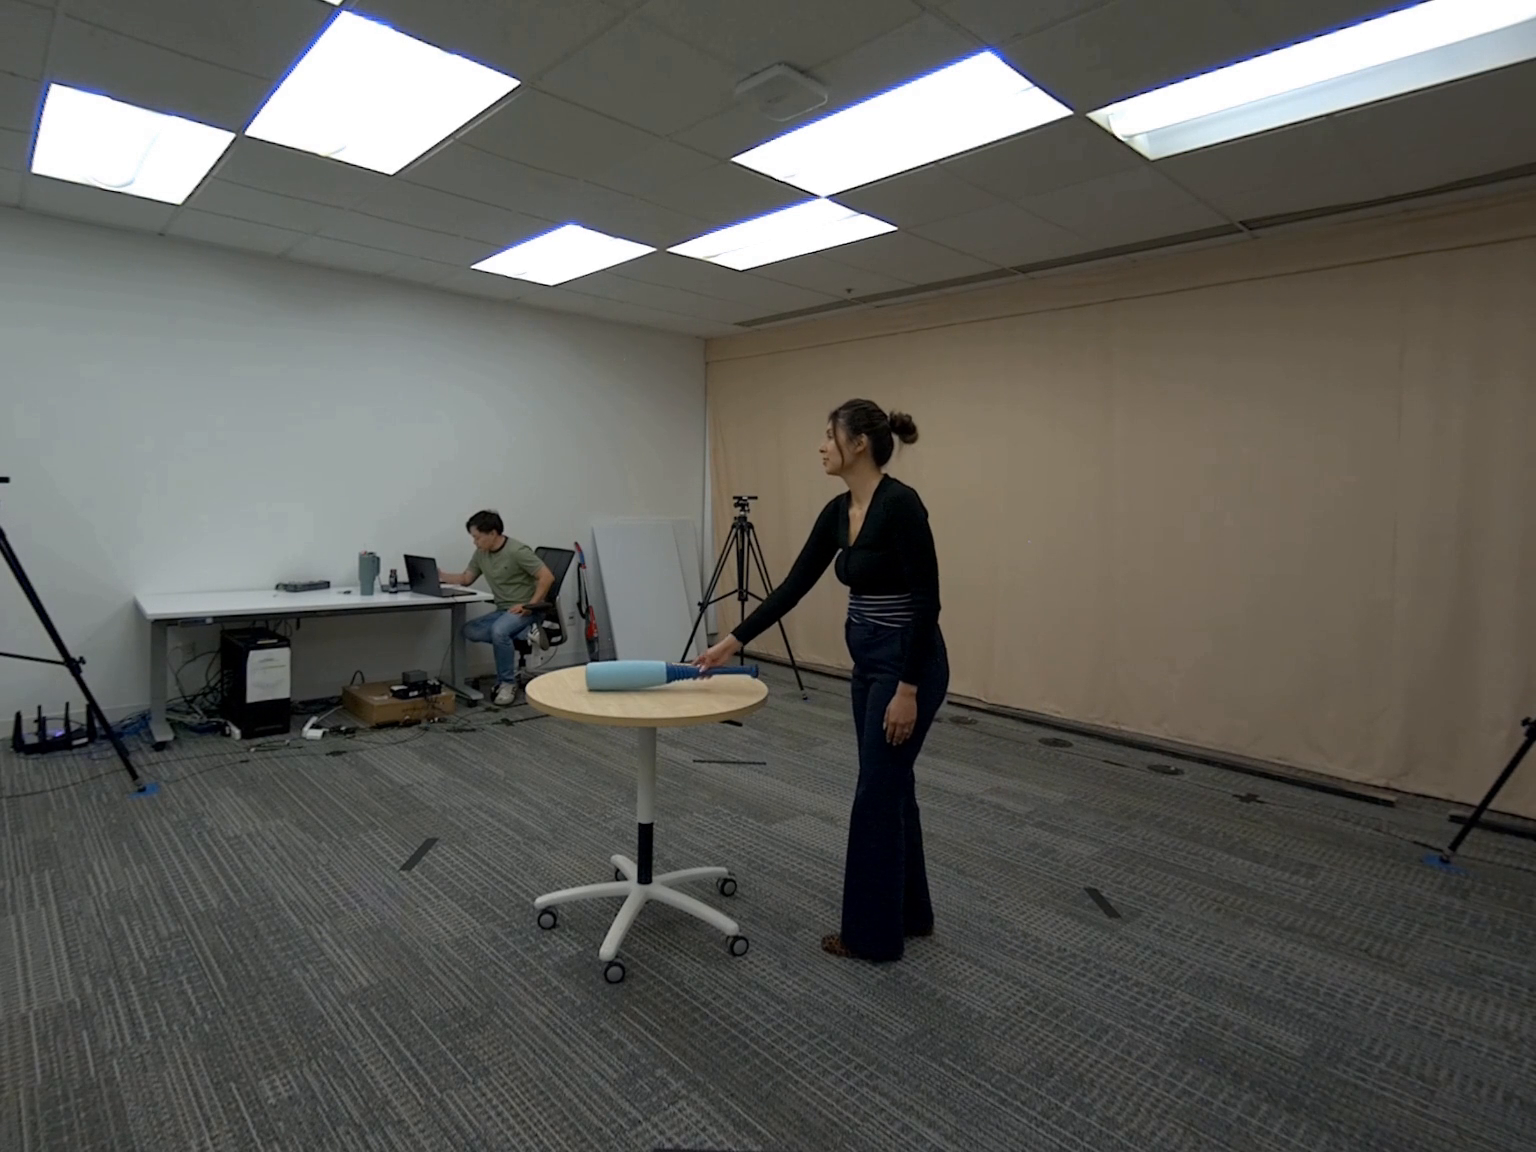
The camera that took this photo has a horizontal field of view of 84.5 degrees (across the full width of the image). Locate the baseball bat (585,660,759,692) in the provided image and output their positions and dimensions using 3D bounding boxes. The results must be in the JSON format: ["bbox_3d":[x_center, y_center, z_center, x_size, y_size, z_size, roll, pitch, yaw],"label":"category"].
[{"bbox_3d":[-0.295,0.300,2.639,0.541,0.089,0.089,-1,4,-3],"label":"baseball bat"}]
